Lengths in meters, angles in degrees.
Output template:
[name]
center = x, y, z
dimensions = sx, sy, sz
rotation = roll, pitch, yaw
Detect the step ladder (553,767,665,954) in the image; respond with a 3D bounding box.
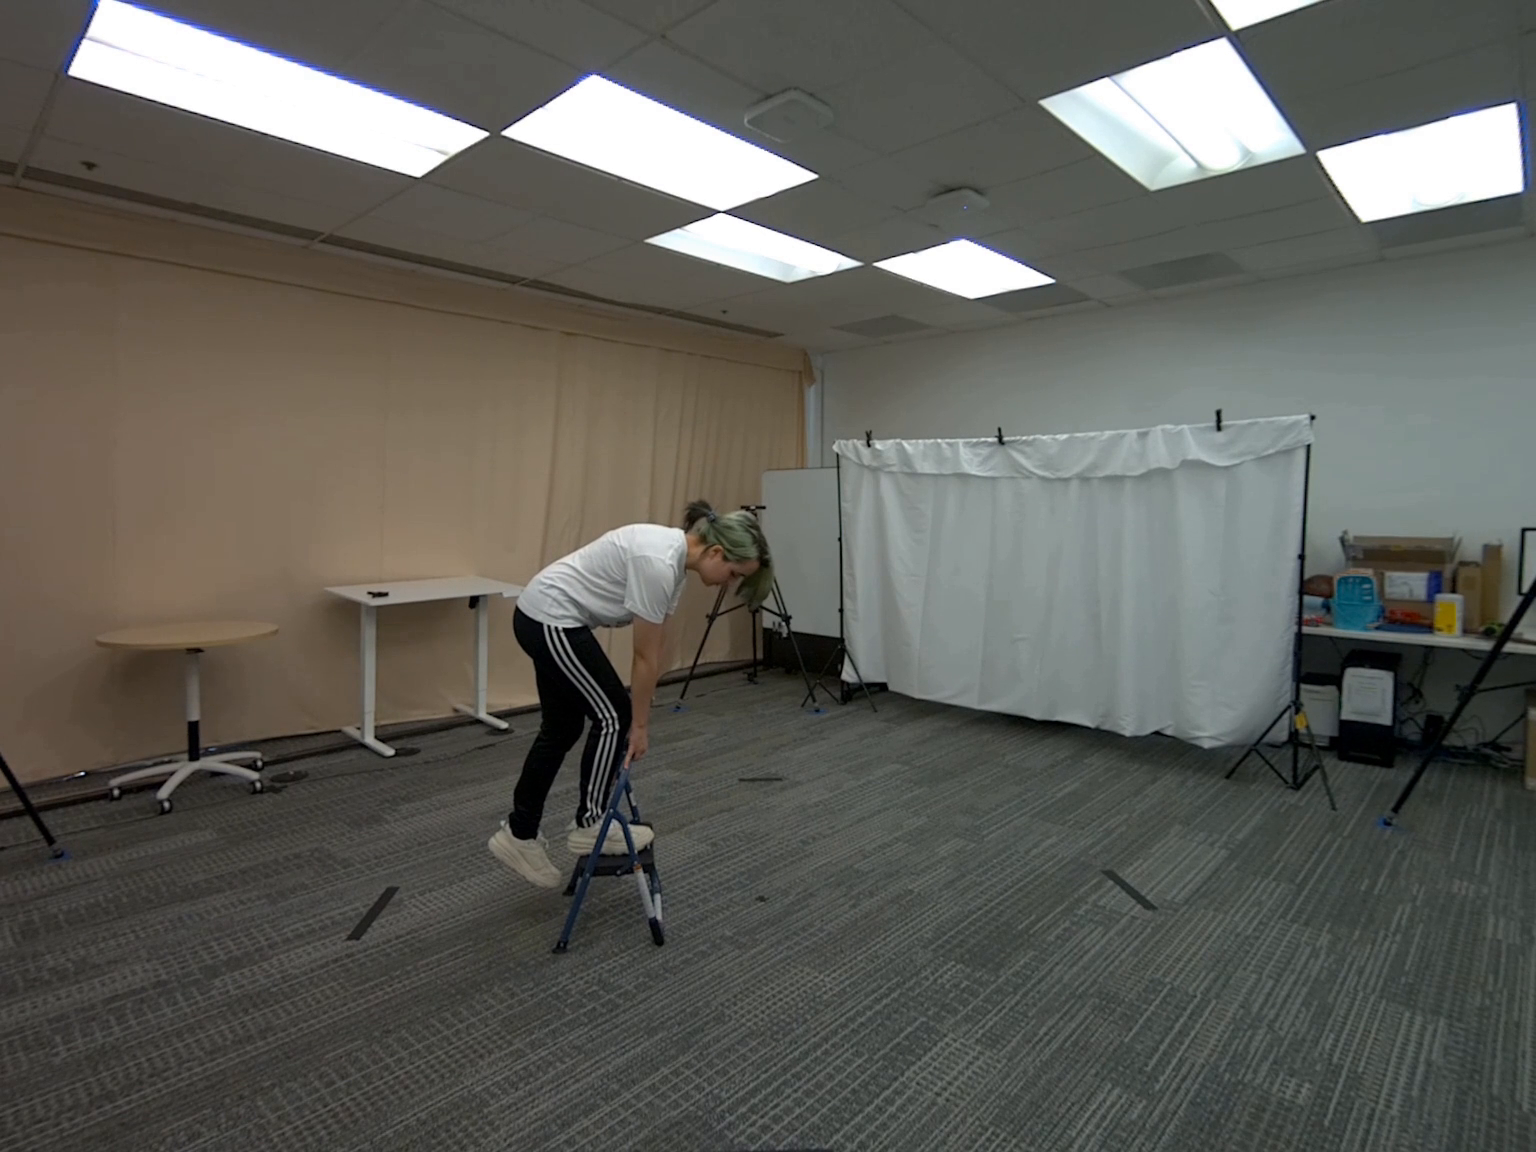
[step ladder]
center = -0.532, 0.863, 2.838
dimensions = 0.347, 0.605, 0.434
rotation = -1, 3, -8
